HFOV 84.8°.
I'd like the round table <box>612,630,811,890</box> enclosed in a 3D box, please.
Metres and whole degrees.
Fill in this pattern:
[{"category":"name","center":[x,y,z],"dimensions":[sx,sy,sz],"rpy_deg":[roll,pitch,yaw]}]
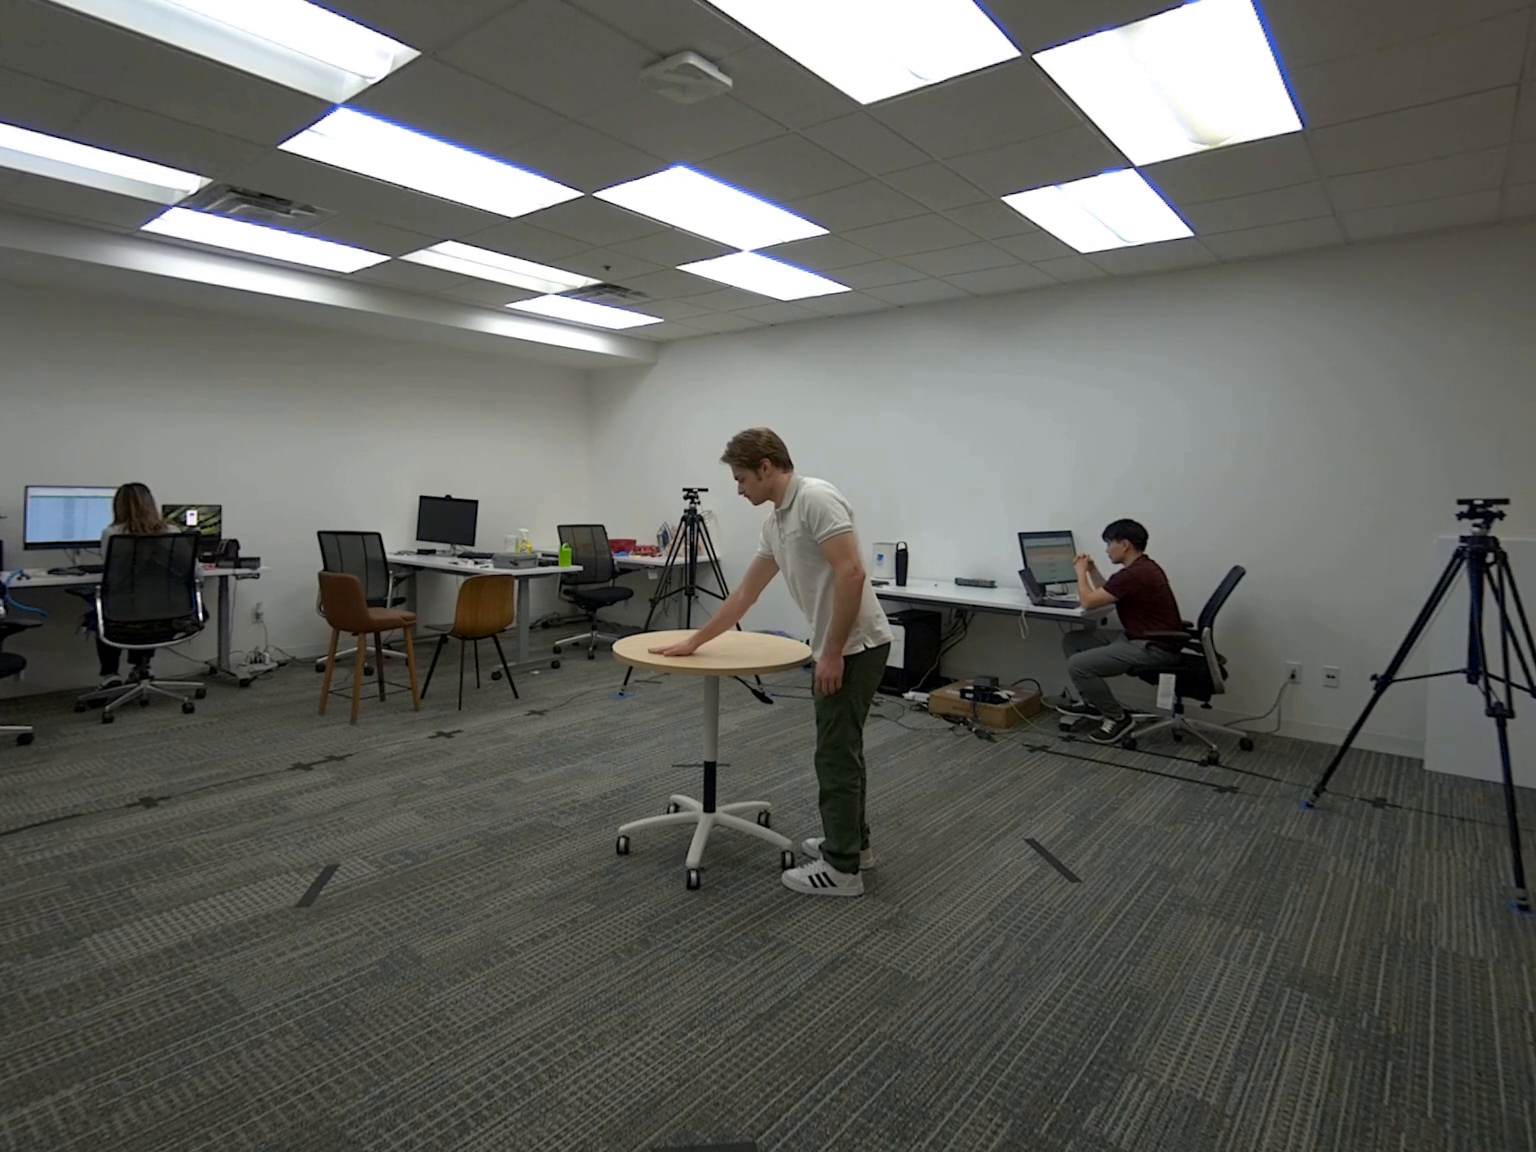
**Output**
[{"category":"round table","center":[-0.240,0.656,3.304],"dimensions":[0.784,0.784,0.789],"rpy_deg":[1,4,-2]}]
